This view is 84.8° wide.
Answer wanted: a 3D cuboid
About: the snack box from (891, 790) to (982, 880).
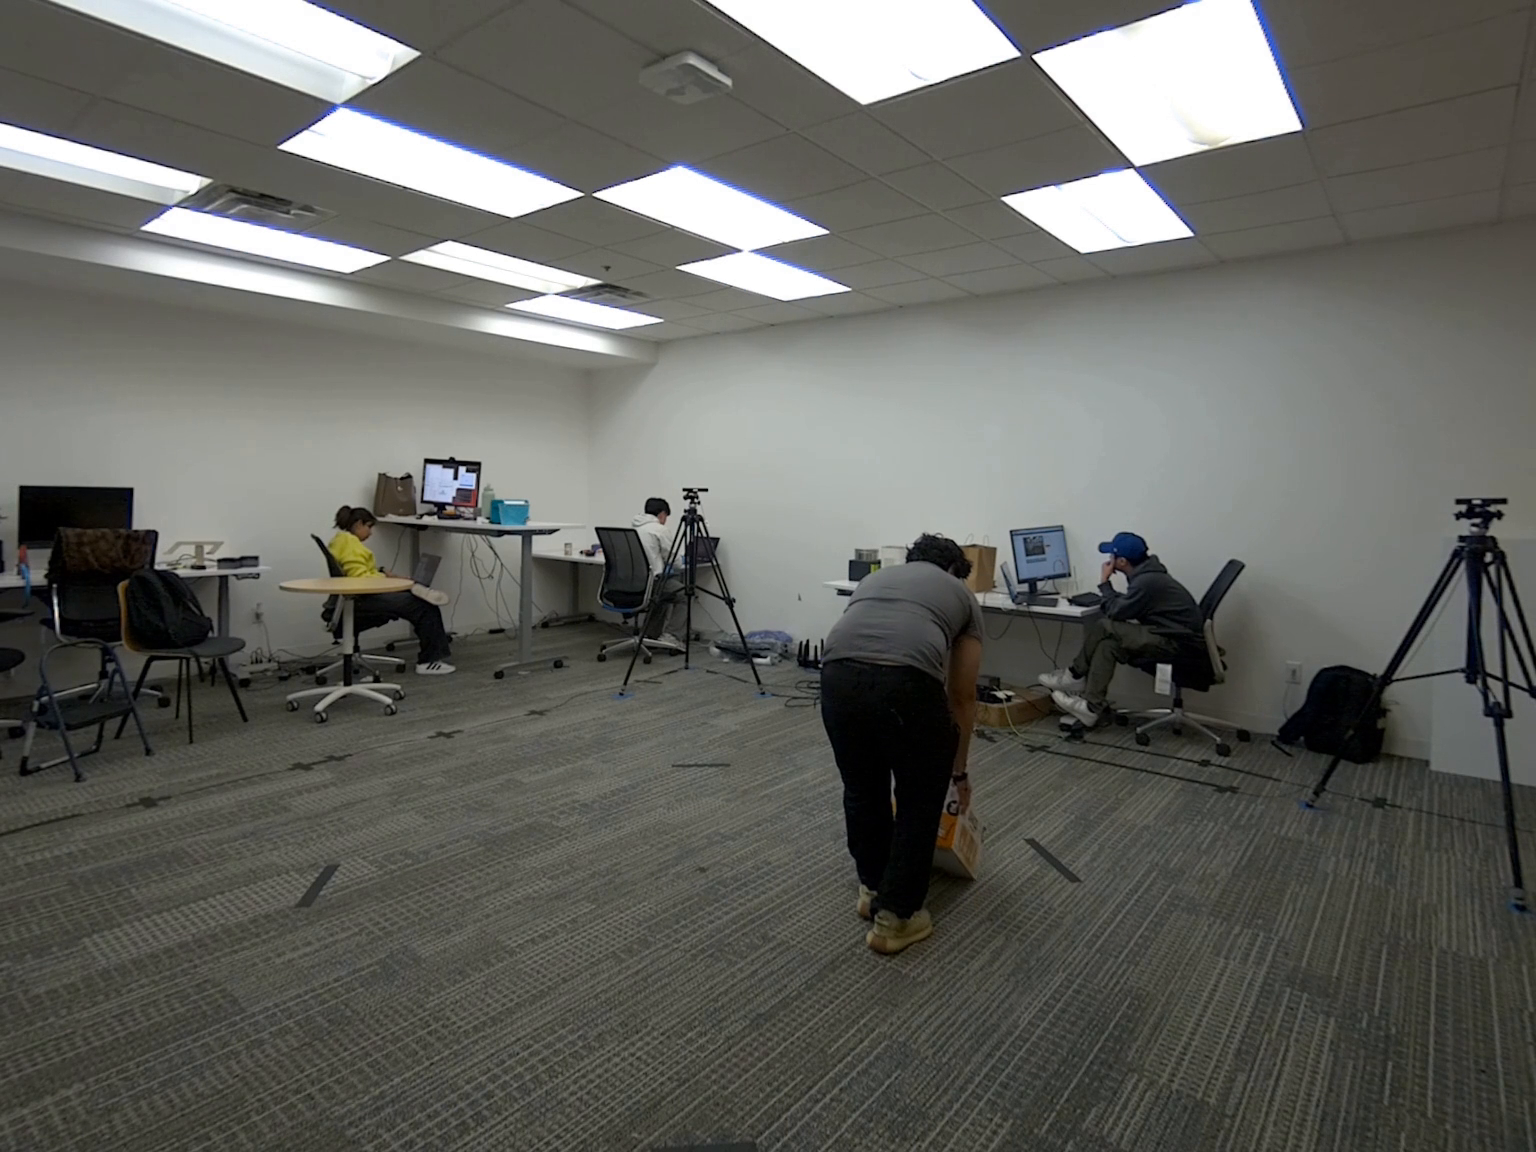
[{"bbox_3d":[0.552,0.892,3.062,0.350,0.208,0.388,5,-30,30],"label":"snack box"}]
